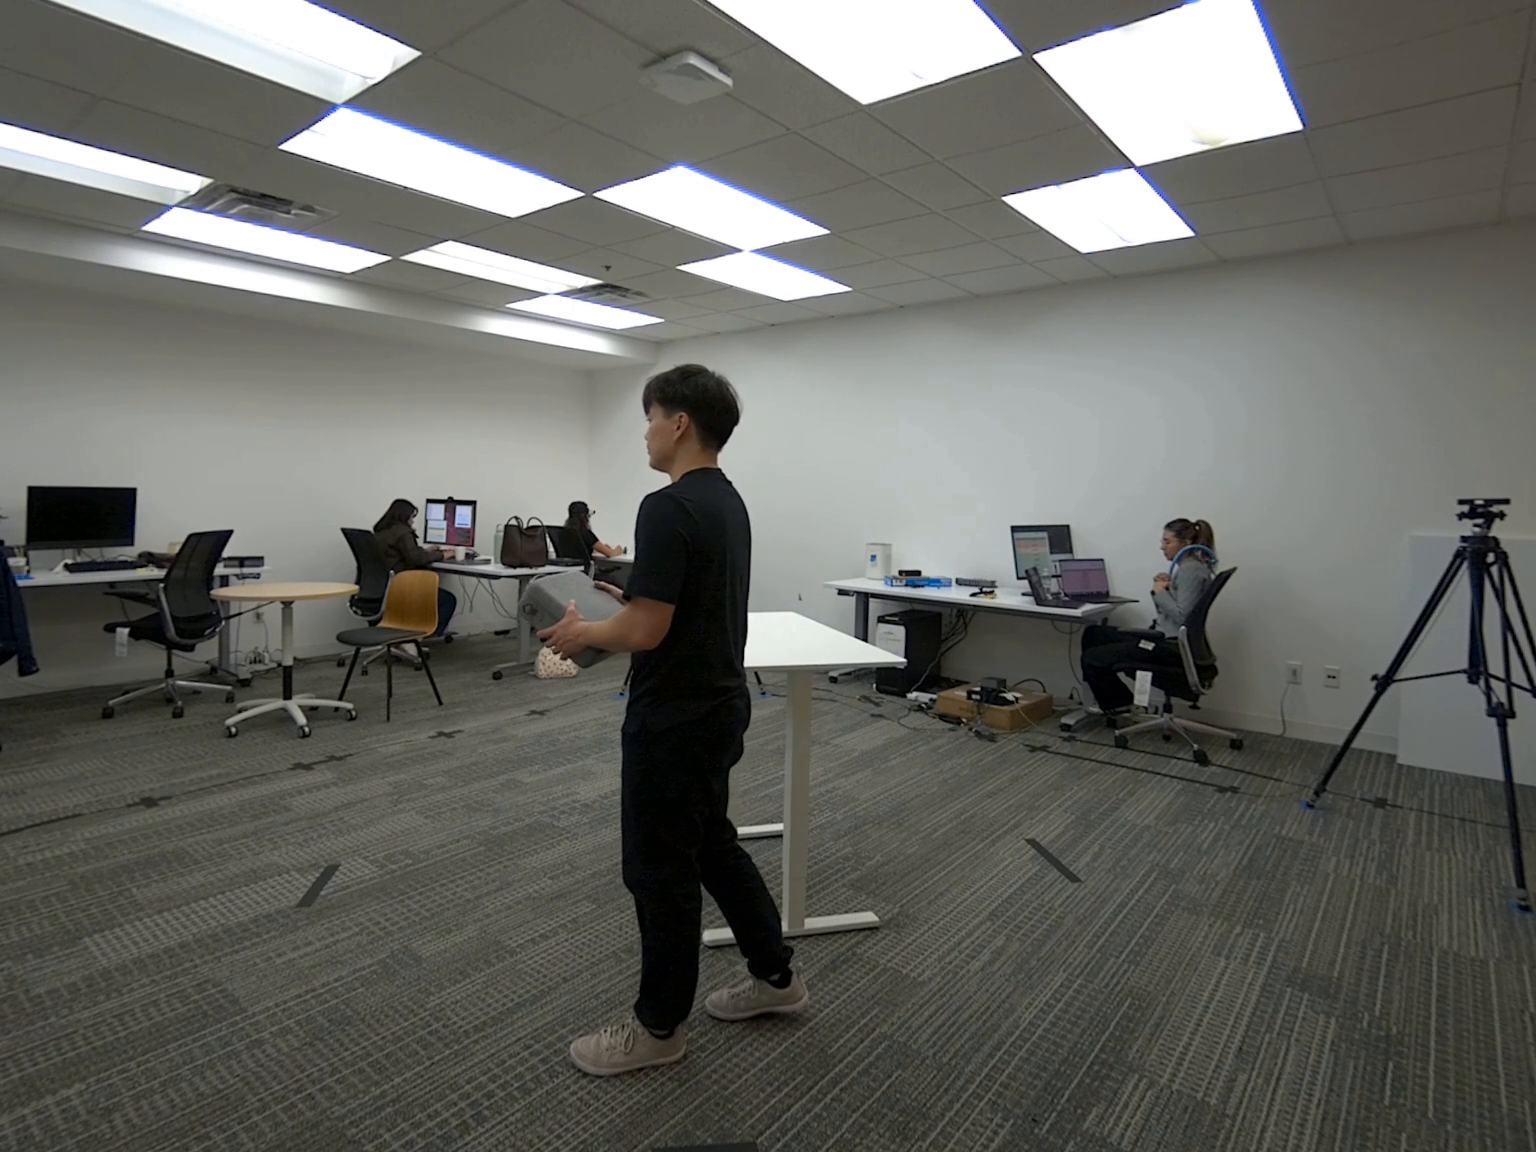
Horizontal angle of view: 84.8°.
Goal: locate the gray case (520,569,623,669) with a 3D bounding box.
[{"bbox_3d":[-0.491,0.105,2.181,0.265,0.104,0.254,38,17,10],"label":"gray case"}]
